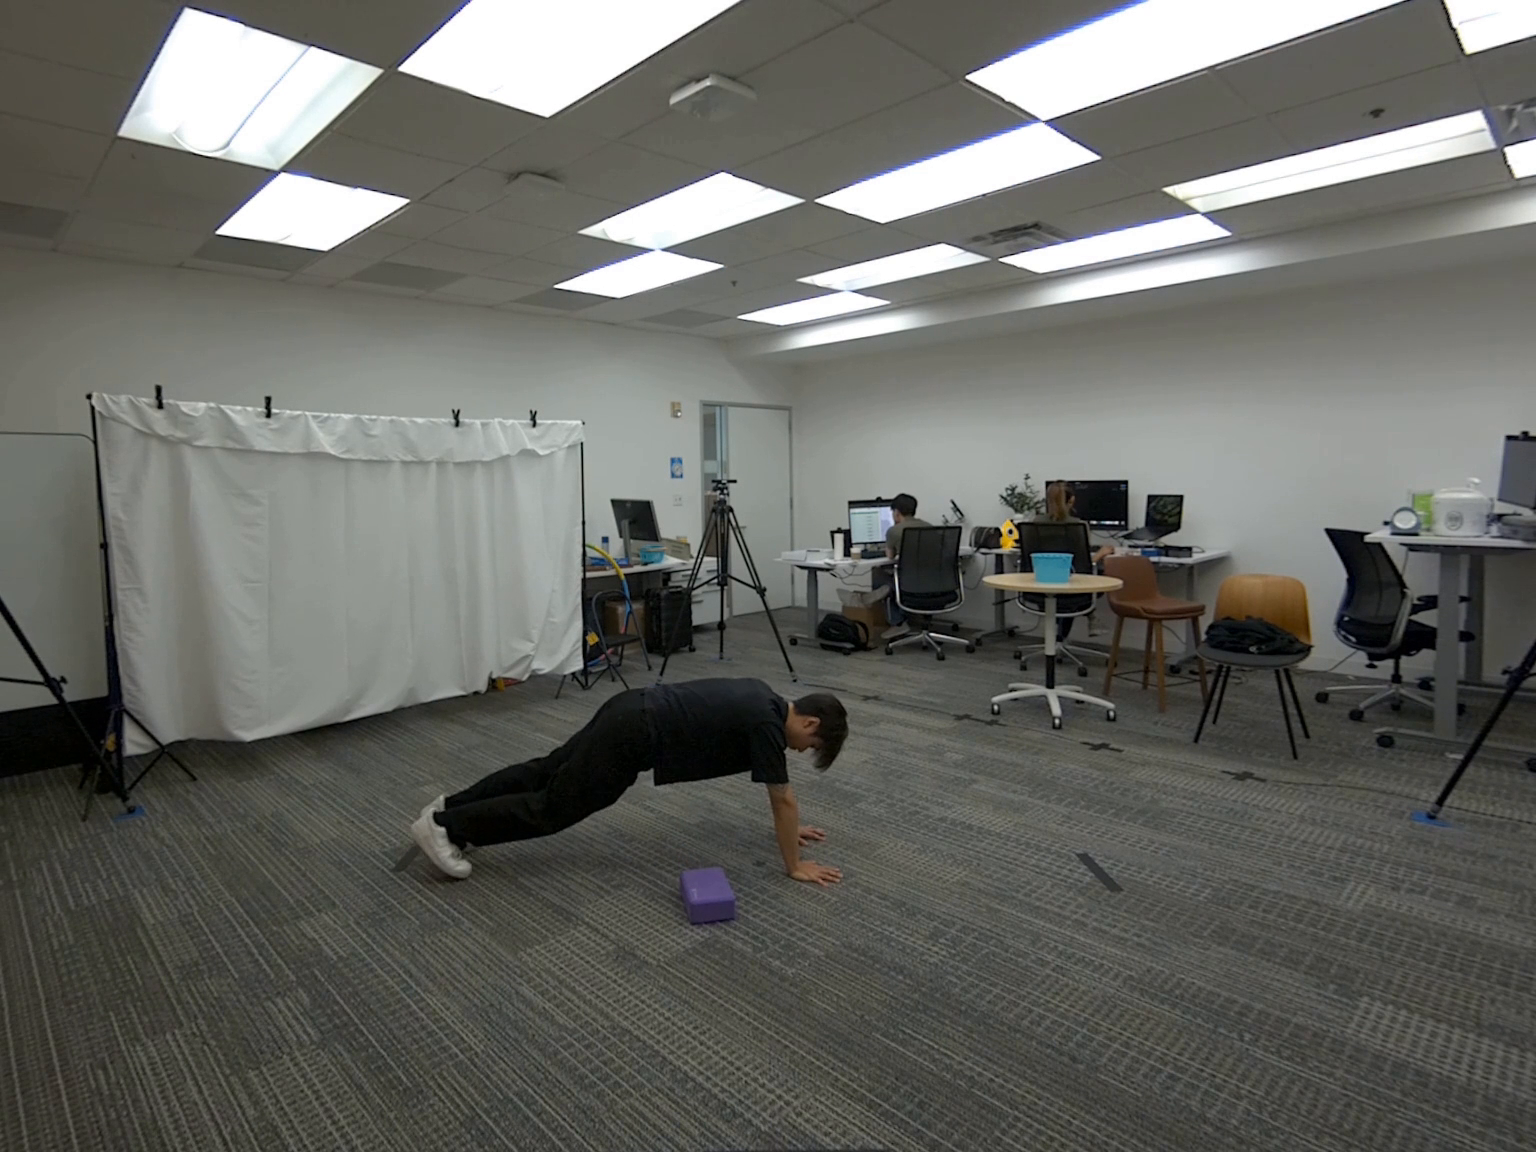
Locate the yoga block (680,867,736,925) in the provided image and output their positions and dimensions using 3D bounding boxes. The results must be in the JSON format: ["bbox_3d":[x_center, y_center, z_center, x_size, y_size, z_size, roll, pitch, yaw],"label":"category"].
[{"bbox_3d":[-0.196,1.045,2.805,0.147,0.076,0.233,-2,5,-13],"label":"yoga block"}]
